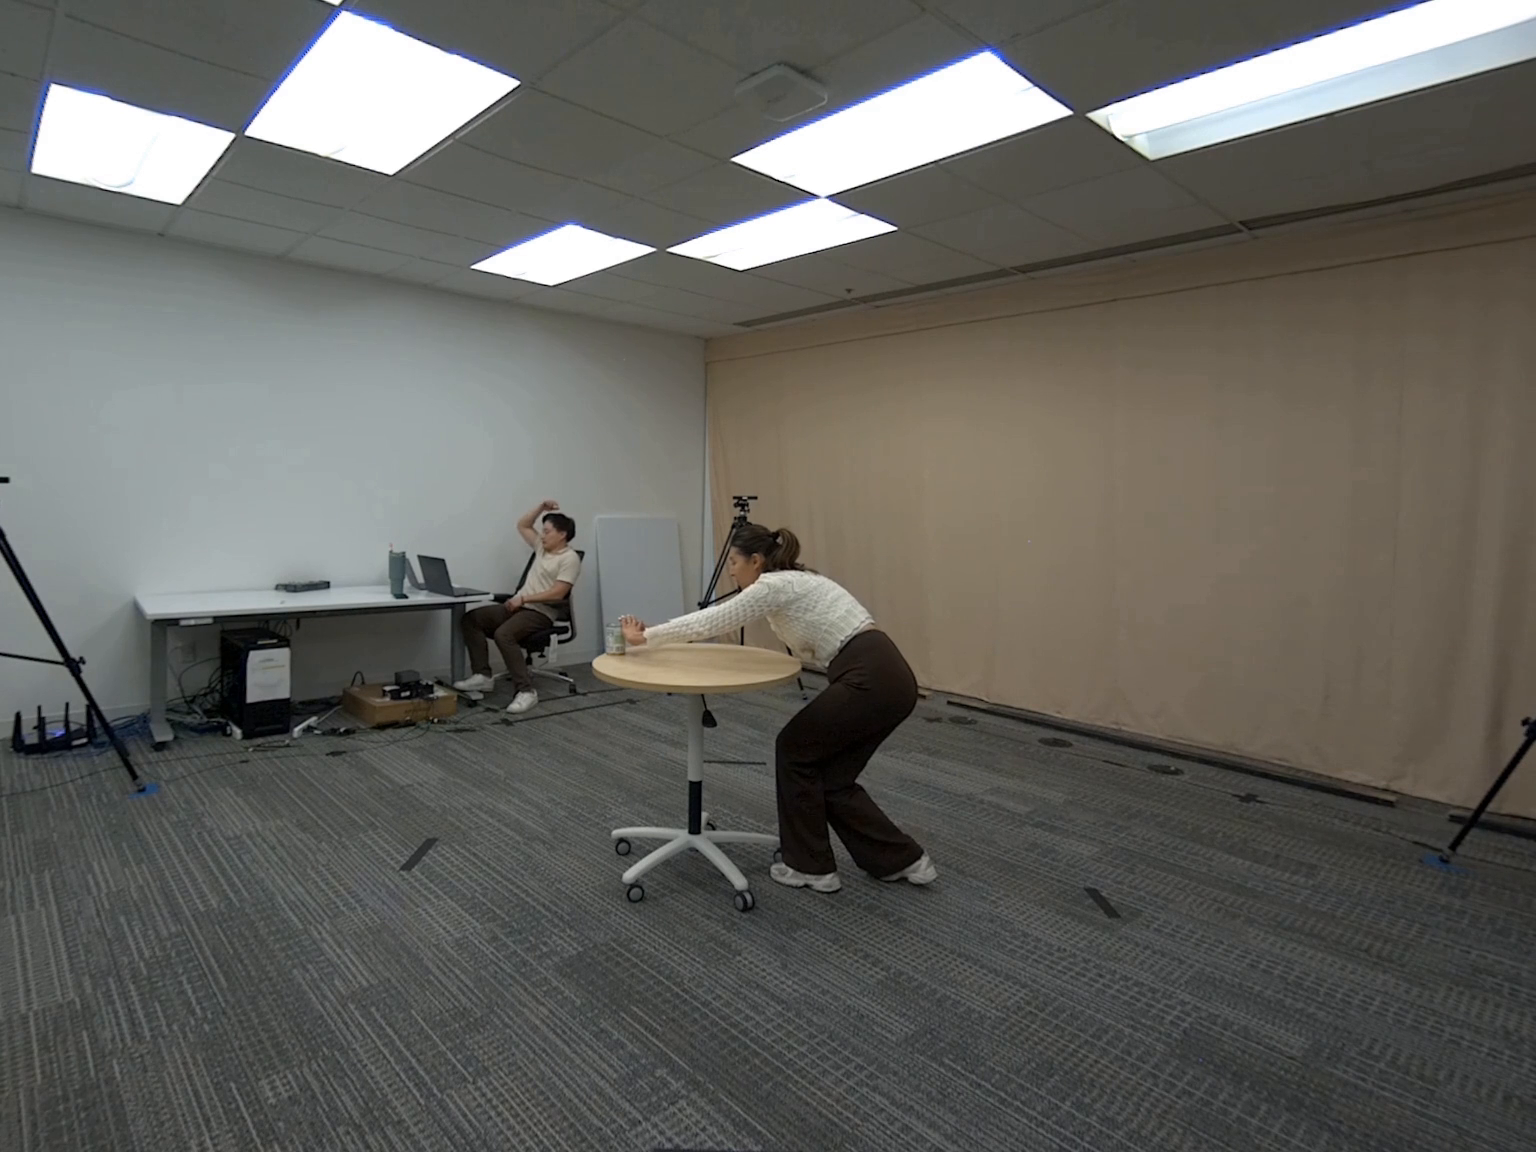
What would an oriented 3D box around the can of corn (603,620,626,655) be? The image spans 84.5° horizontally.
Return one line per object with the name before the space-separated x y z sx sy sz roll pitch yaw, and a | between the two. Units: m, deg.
can of corn | -0.586 0.243 3.229 0.074 0.111 0.074 2 -1 -1
